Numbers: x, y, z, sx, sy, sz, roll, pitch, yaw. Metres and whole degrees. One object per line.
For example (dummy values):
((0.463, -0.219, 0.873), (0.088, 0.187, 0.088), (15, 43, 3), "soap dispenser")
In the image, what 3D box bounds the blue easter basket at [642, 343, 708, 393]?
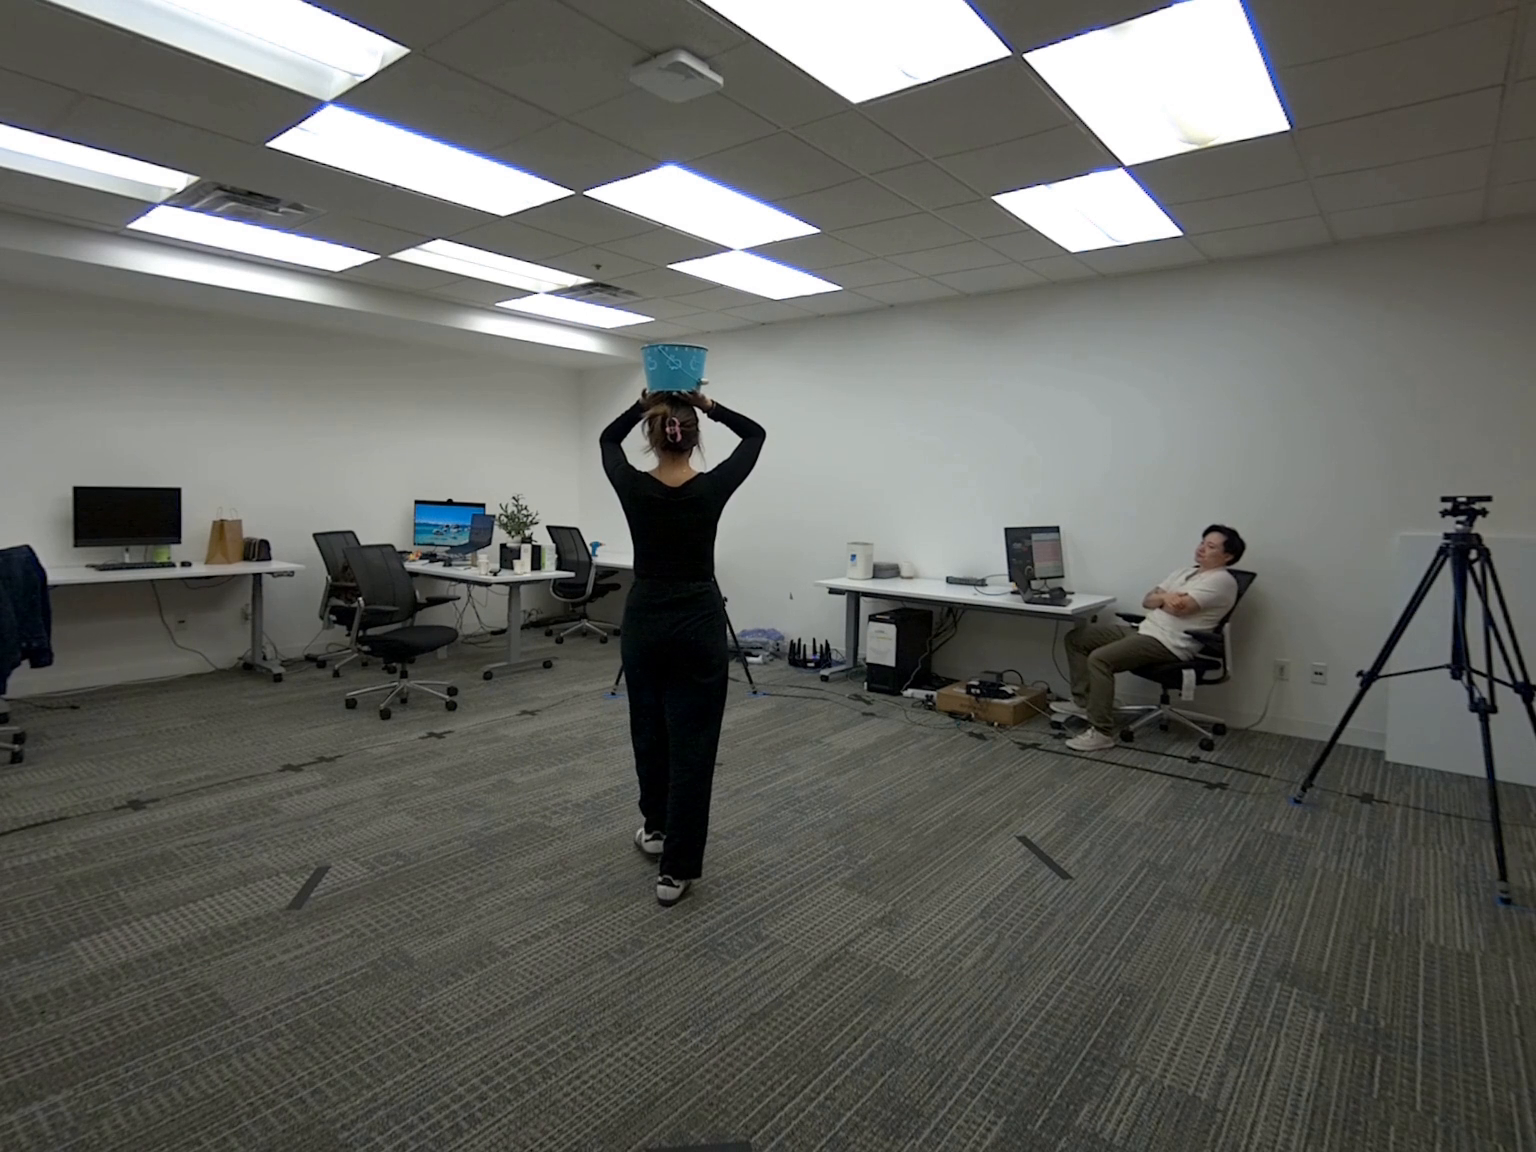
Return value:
((-0.330, -0.702, 2.916), (0.243, 0.155, 0.245), (0, 5, -2), "blue easter basket")
